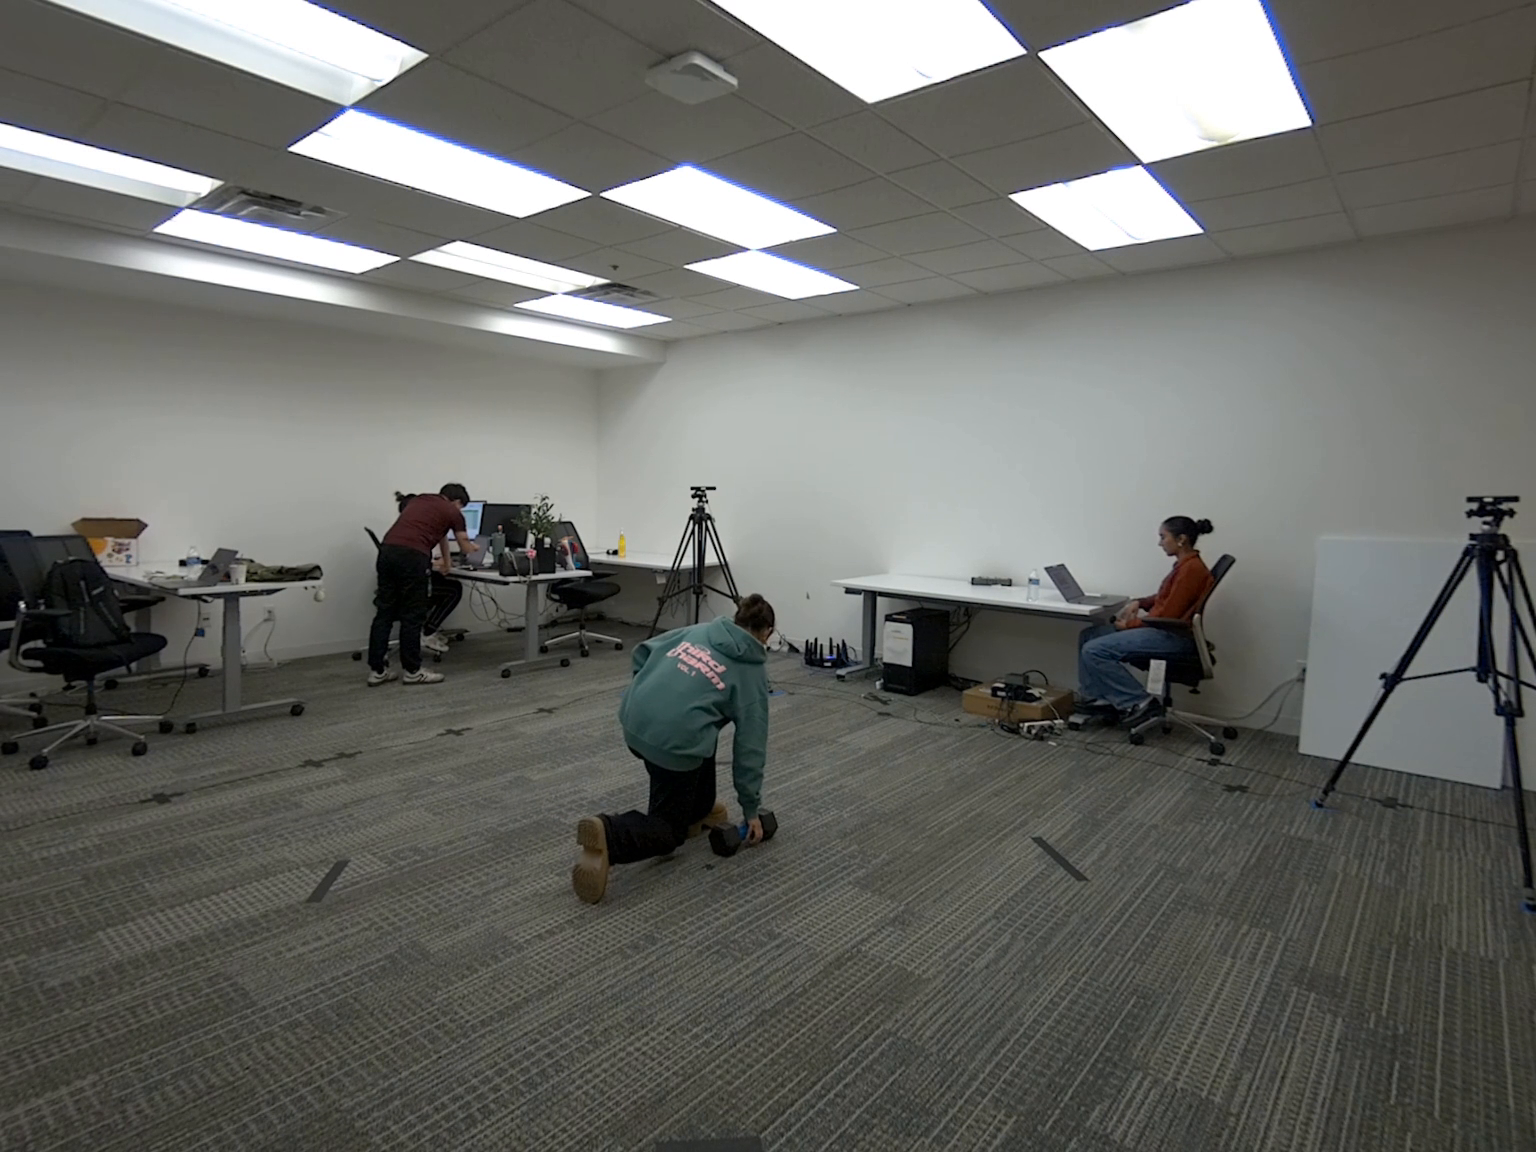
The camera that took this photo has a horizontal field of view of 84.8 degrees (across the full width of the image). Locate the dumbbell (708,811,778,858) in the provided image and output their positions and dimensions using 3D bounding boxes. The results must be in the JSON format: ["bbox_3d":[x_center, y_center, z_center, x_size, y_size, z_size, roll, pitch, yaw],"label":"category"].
[{"bbox_3d":[-0.102,0.993,3.314,0.285,0.121,0.113,-6,39,-46],"label":"dumbbell"}]
